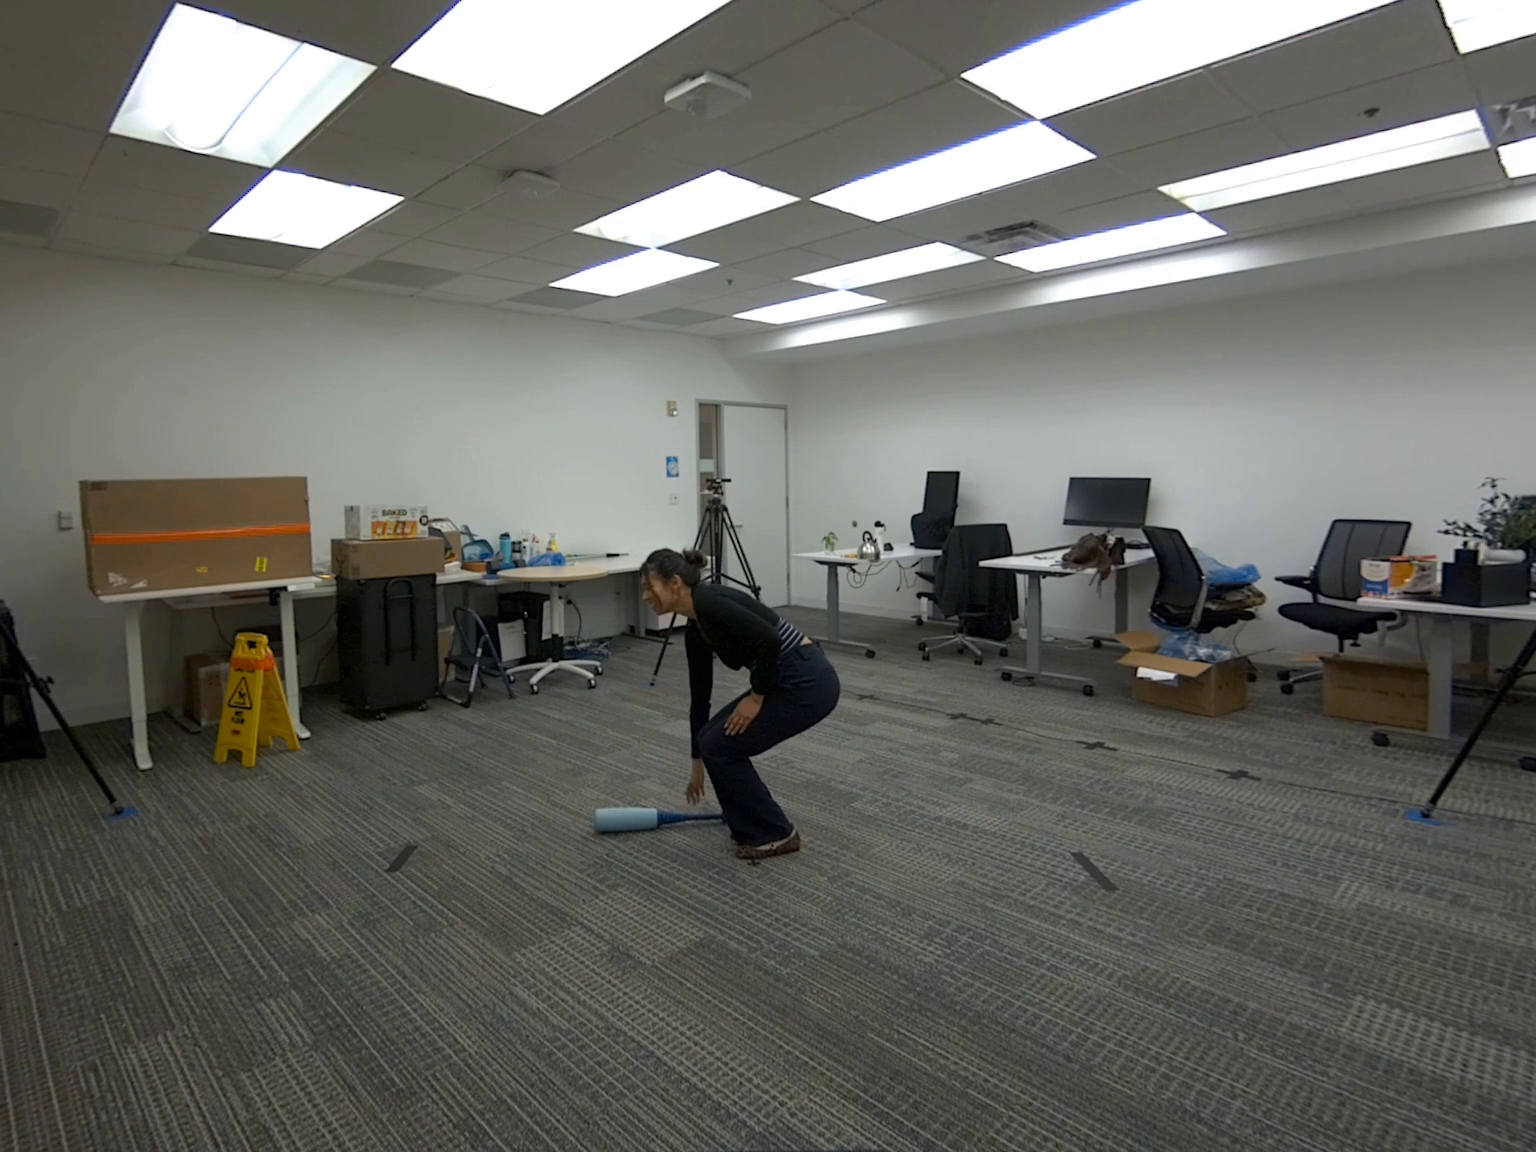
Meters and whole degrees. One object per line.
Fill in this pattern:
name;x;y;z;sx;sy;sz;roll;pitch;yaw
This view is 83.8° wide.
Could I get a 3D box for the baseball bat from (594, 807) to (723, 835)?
baseball bat;-0.430;0.978;3.438;0.538;0.089;0.090;1;4;-9
